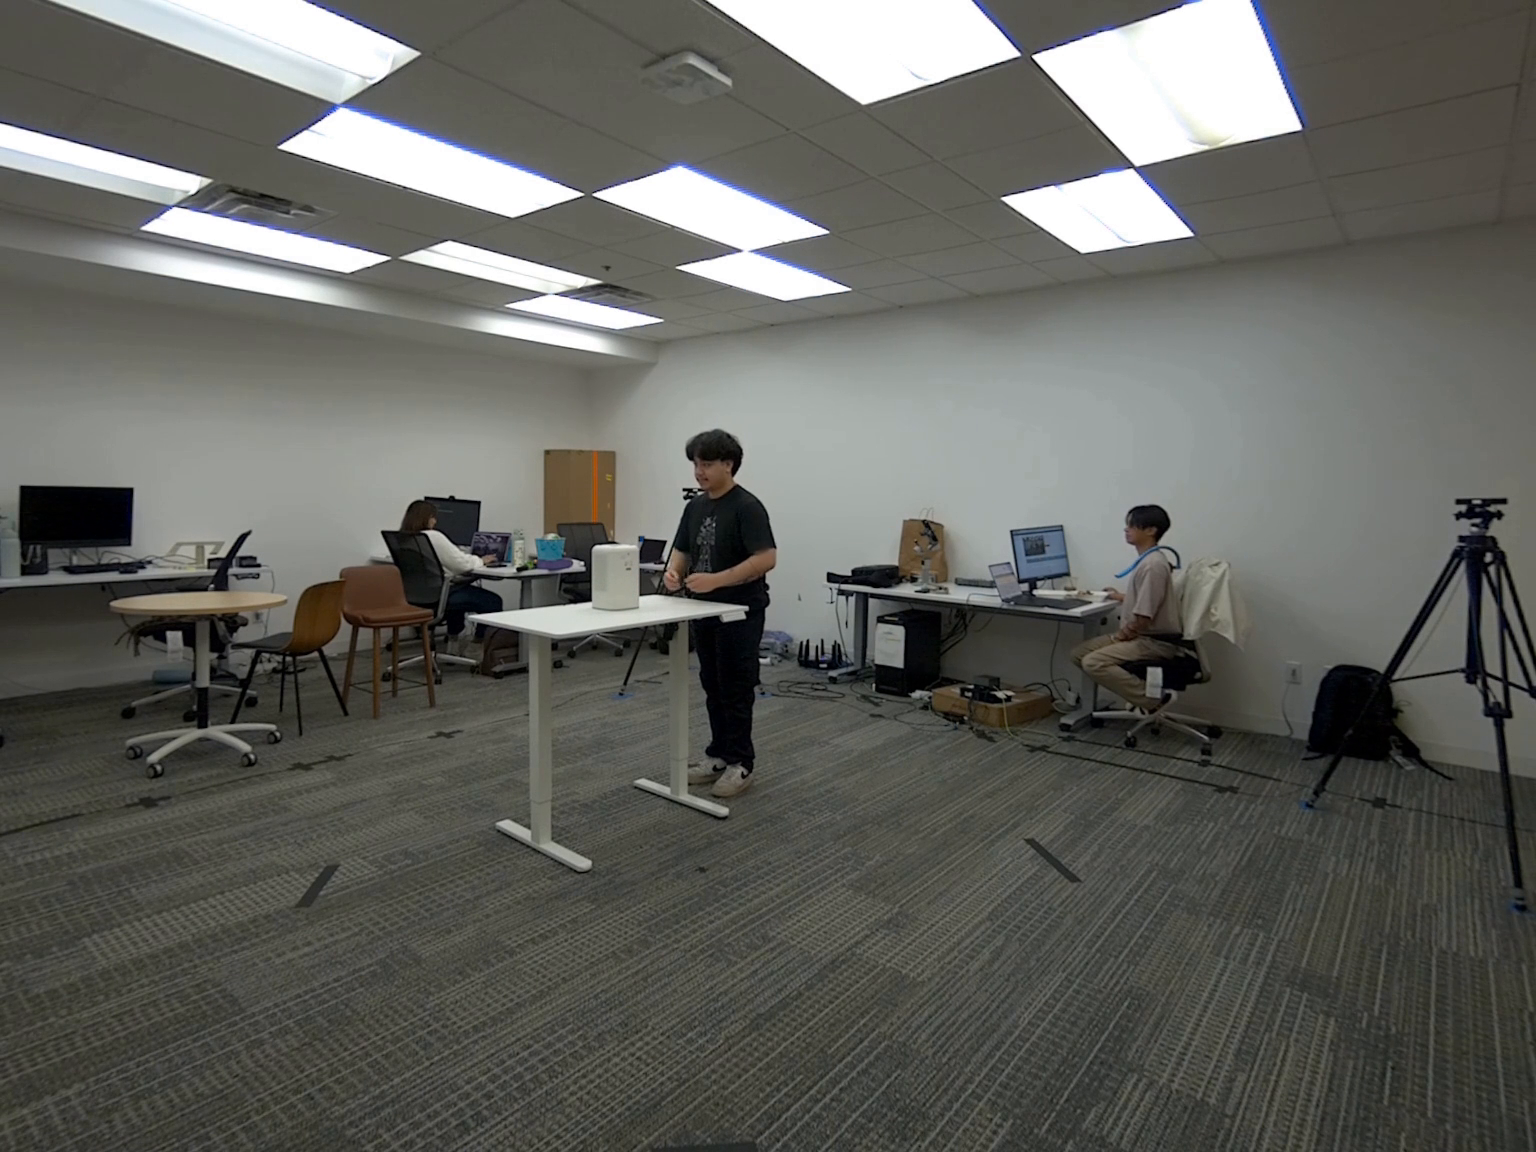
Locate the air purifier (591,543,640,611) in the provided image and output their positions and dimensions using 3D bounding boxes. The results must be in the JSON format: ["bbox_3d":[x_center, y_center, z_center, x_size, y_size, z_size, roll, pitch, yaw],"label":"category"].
[{"bbox_3d":[-0.658,-0.003,3.597,0.177,0.264,0.166,4,5,43],"label":"air purifier"}]
